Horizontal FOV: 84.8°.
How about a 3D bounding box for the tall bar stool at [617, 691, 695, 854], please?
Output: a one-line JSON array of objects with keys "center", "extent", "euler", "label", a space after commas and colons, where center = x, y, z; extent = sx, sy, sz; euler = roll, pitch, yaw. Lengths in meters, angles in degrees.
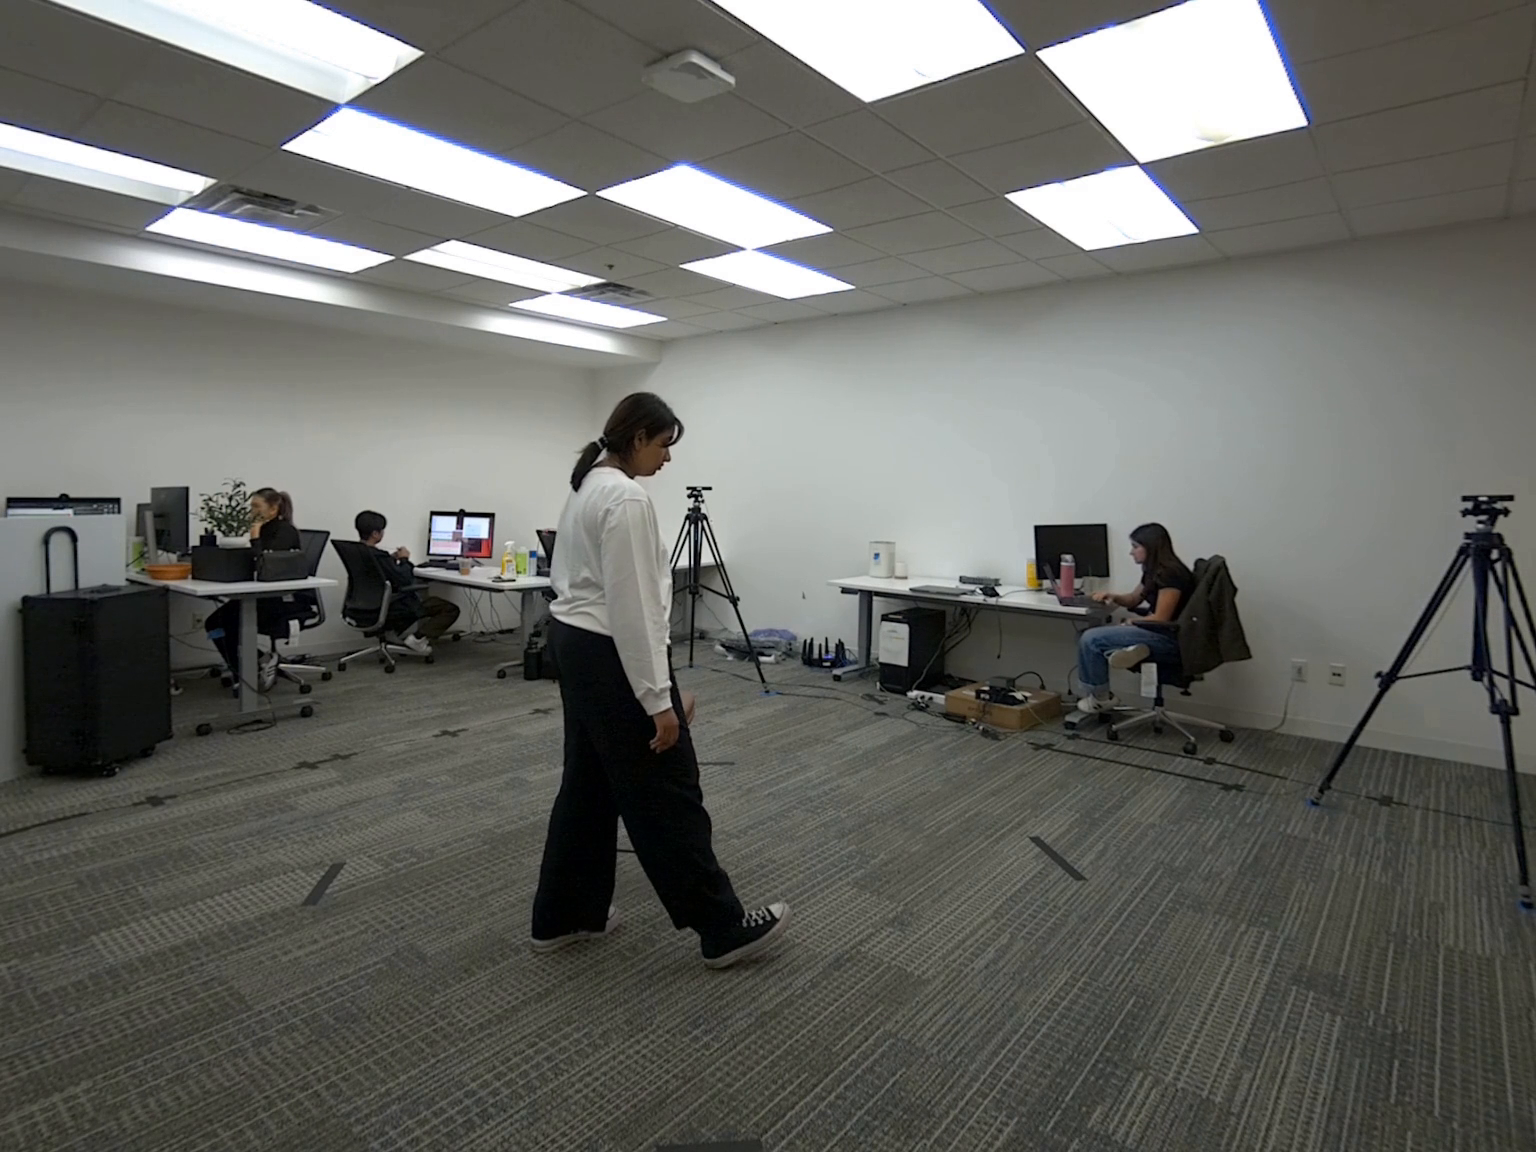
[{"center": [-0.497, 0.630, 3.065], "extent": [0.472, 0.888, 0.453], "euler": [0, 3, 8], "label": "tall bar stool"}]
